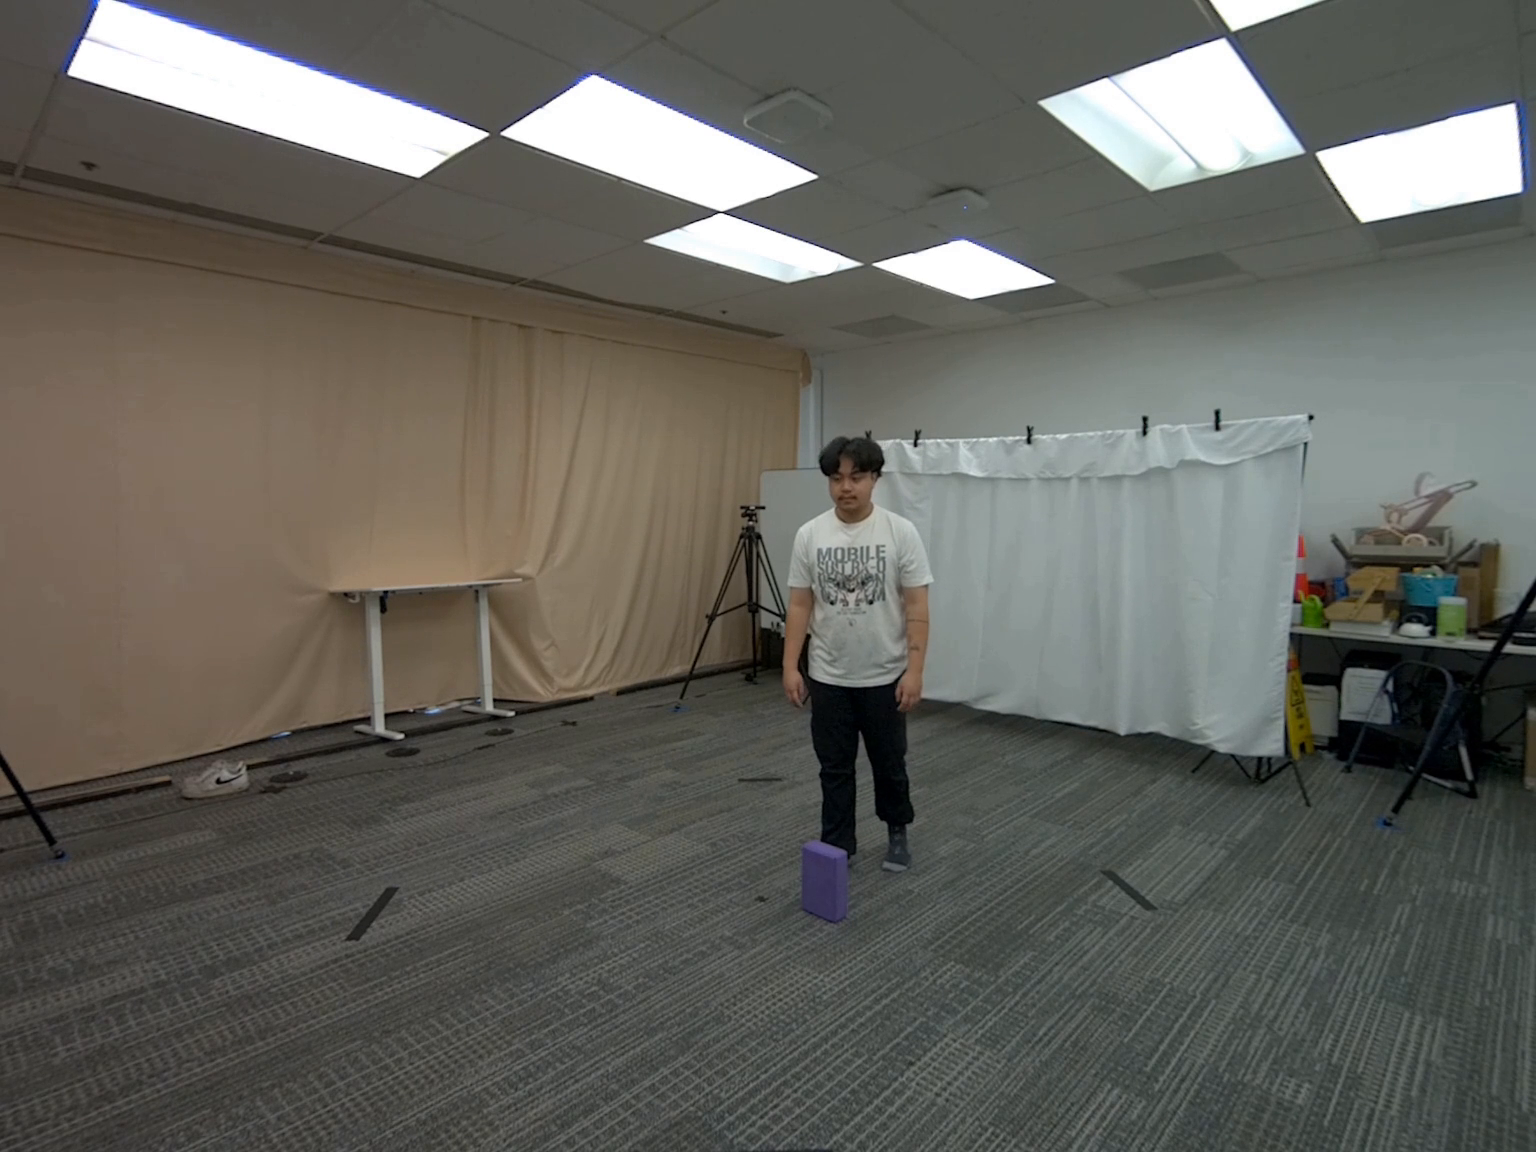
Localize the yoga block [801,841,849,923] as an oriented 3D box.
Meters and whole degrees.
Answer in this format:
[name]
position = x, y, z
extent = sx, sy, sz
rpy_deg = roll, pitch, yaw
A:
[yoga block]
position = 0.197, 1.038, 2.867
extent = 0.074, 0.229, 0.154
rpy_deg = -3, 6, -45
